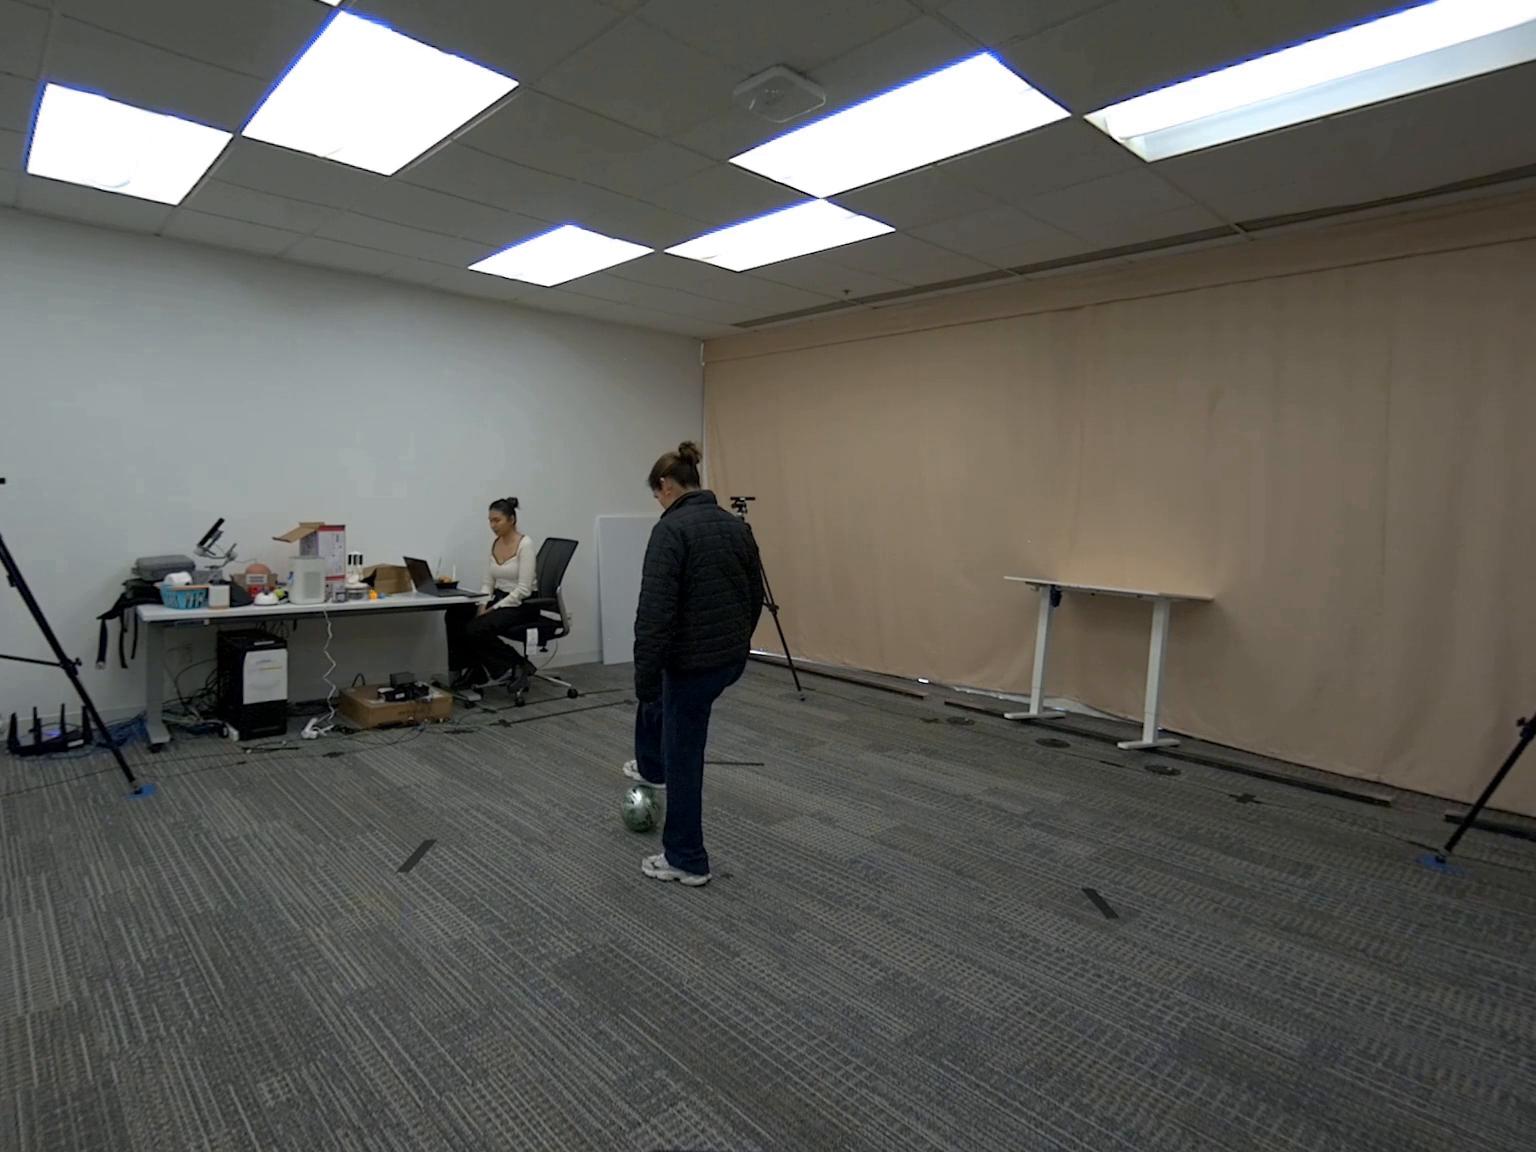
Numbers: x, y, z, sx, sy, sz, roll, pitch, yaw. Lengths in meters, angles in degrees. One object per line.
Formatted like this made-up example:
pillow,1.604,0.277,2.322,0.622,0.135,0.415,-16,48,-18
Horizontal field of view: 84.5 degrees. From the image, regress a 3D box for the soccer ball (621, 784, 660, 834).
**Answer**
soccer ball,-0.533,0.968,3.516,0.187,0.187,0.188,1,4,-1
